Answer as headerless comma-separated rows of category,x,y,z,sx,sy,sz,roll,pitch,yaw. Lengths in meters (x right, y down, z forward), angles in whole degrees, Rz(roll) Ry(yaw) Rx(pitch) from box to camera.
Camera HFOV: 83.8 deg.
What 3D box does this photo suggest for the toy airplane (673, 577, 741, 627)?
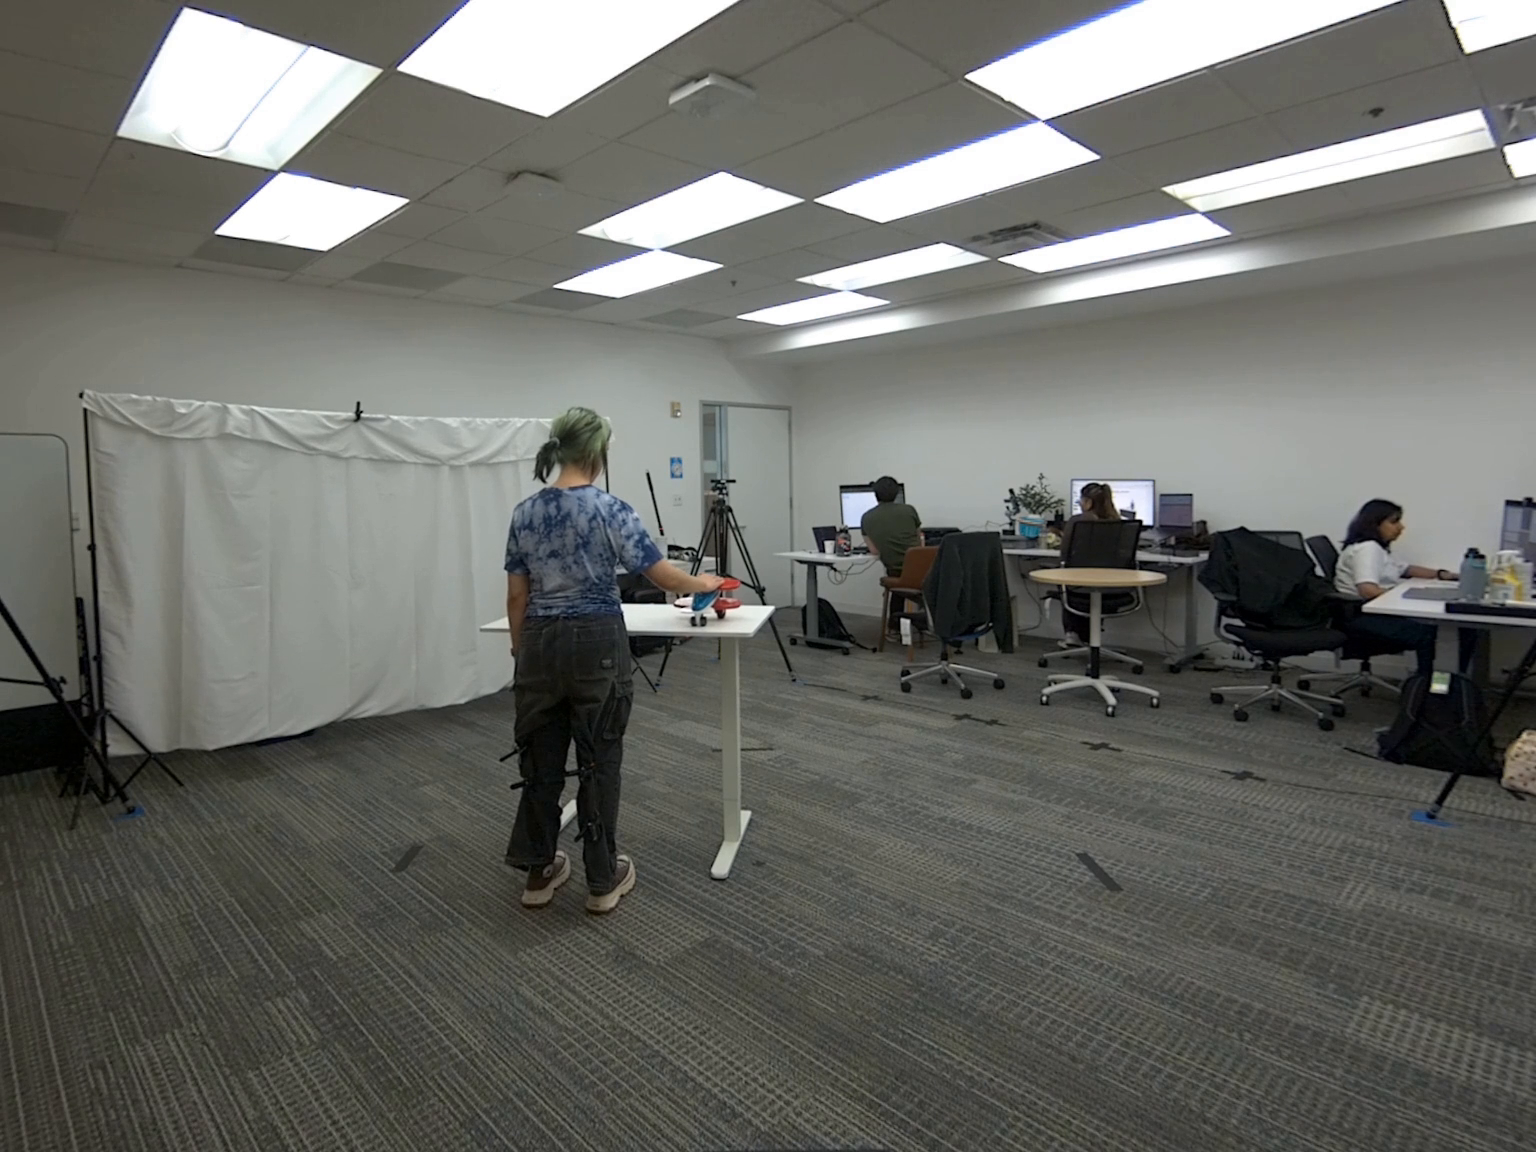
toy airplane,-0.210,0.093,3.127,0.247,0.156,0.264,-3,6,-18
